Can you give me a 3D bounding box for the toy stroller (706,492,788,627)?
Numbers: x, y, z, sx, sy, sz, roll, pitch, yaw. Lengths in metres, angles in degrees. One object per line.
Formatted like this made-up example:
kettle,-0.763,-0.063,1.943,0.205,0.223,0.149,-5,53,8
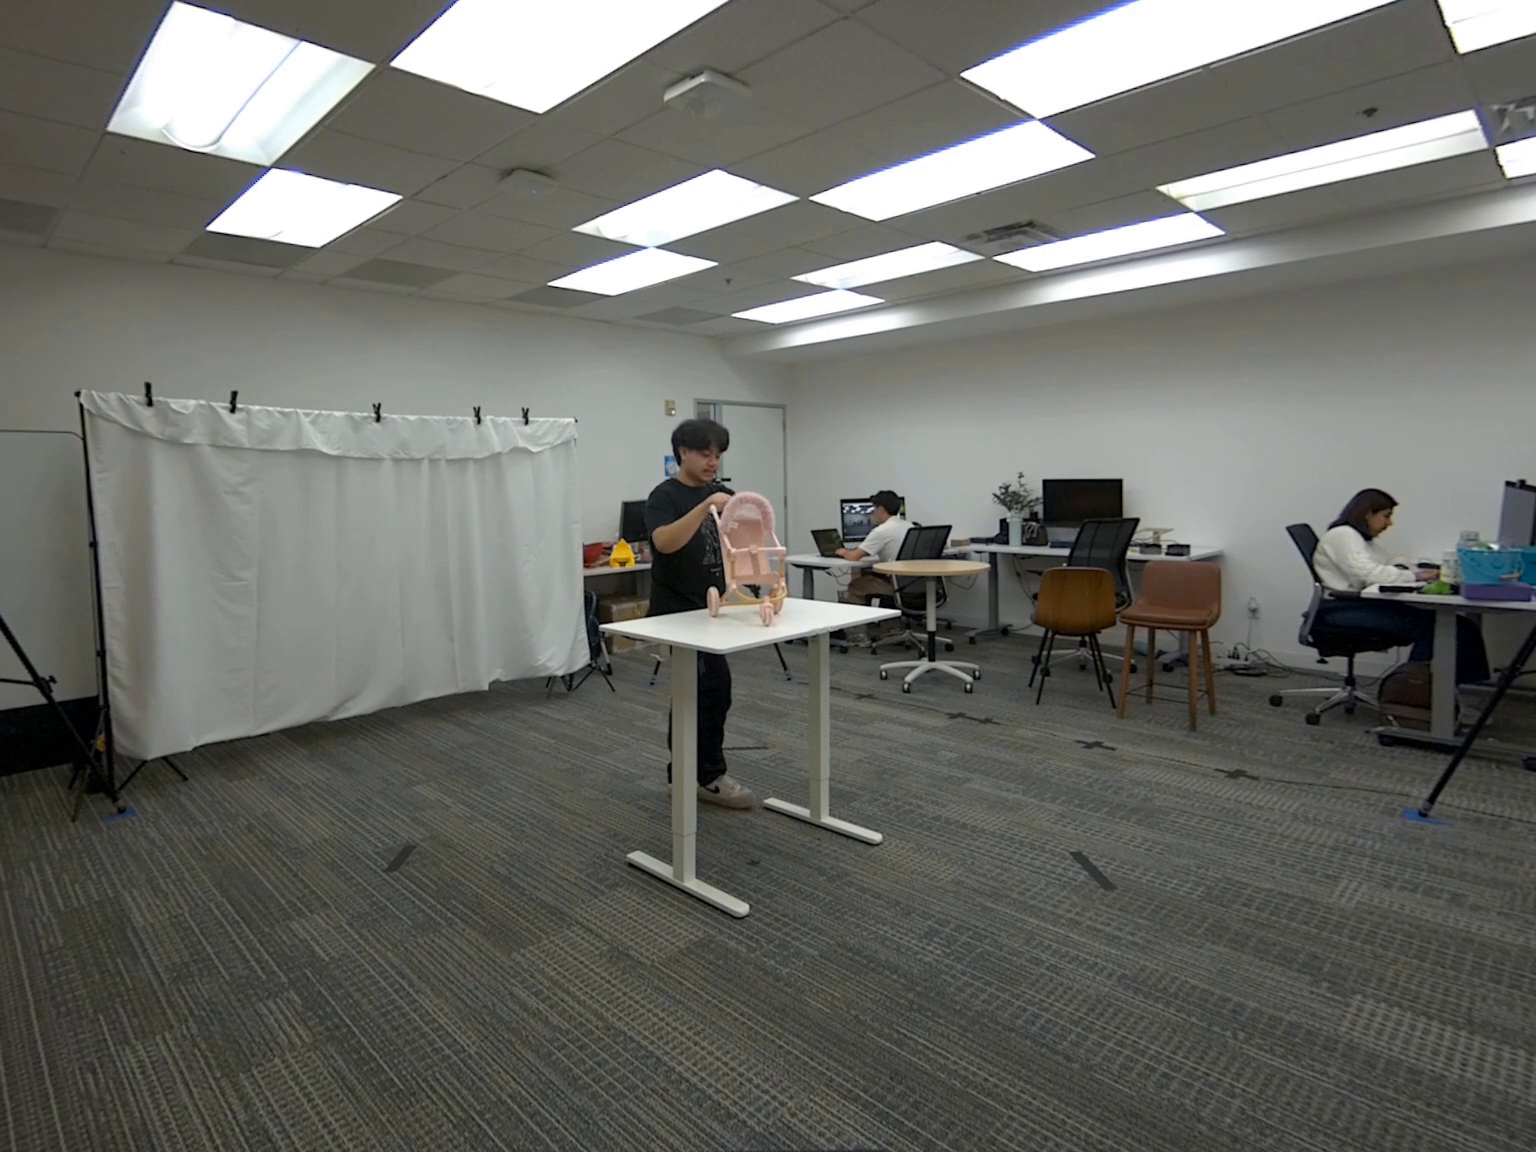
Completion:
toy stroller,-0.066,-0.068,3.144,0.278,0.541,0.342,-2,-11,-15
